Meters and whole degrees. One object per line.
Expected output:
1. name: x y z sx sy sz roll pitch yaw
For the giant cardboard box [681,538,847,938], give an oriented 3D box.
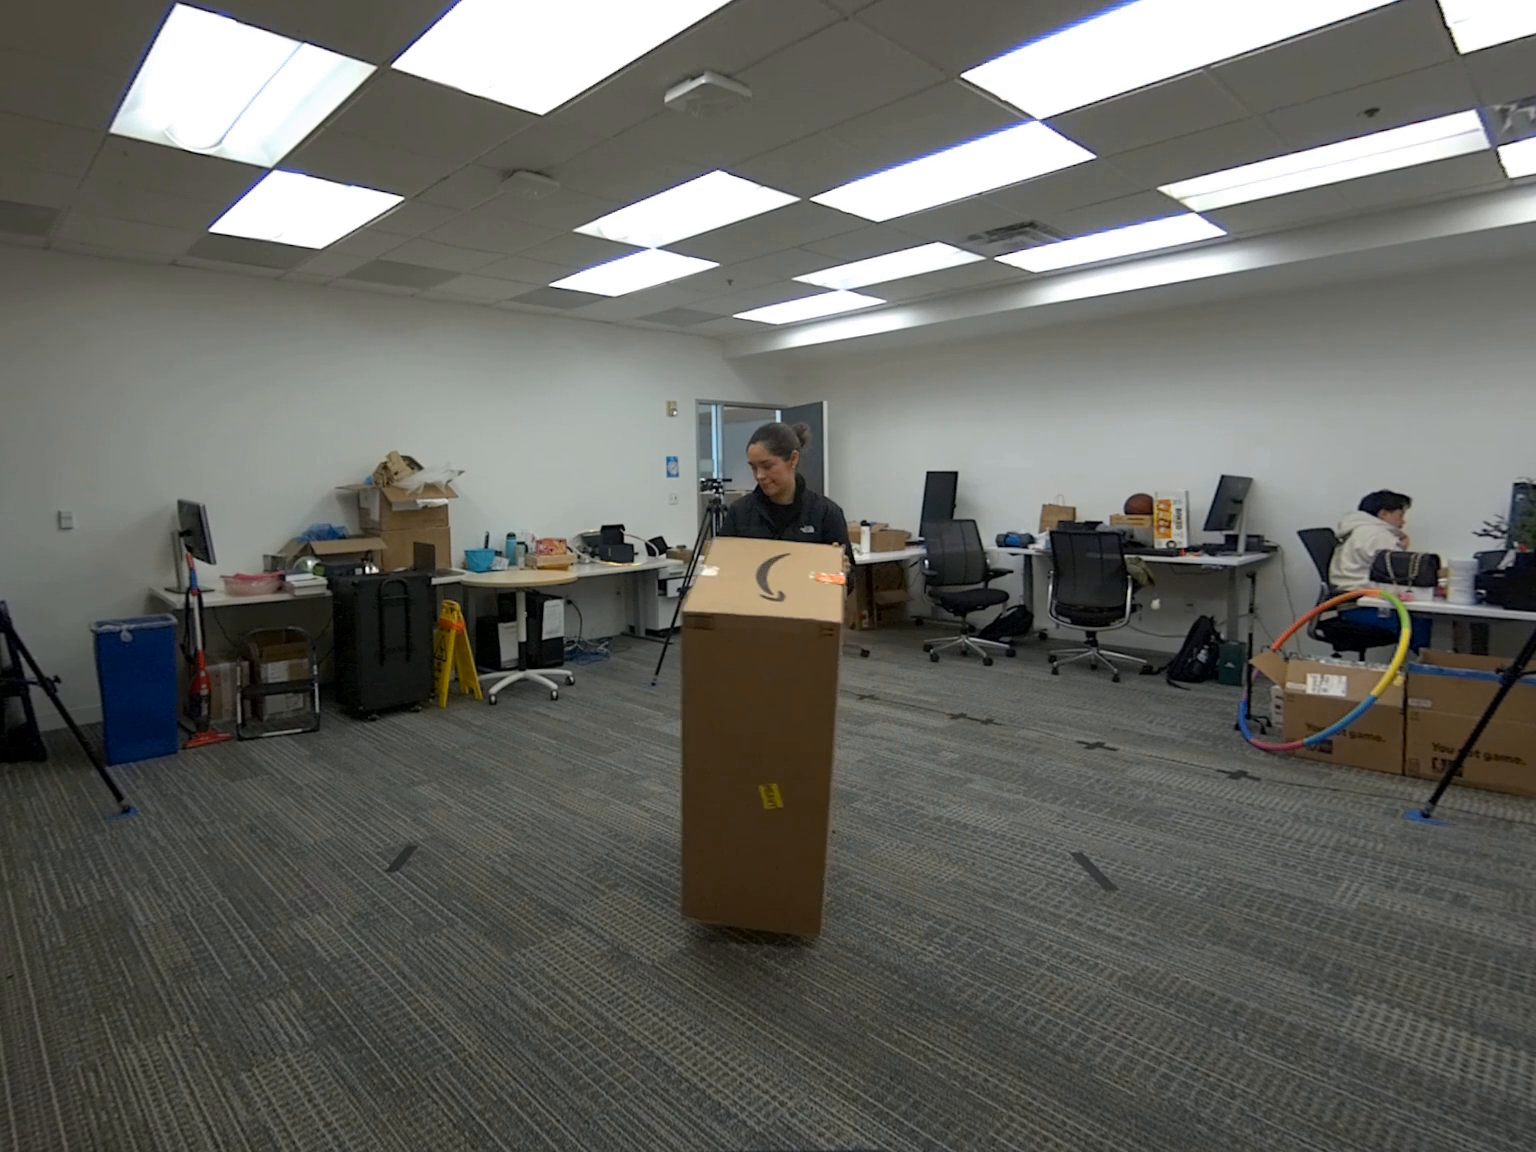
1. giant cardboard box: -0.010 0.476 2.649 0.429 1.009 0.584 4 20 5
